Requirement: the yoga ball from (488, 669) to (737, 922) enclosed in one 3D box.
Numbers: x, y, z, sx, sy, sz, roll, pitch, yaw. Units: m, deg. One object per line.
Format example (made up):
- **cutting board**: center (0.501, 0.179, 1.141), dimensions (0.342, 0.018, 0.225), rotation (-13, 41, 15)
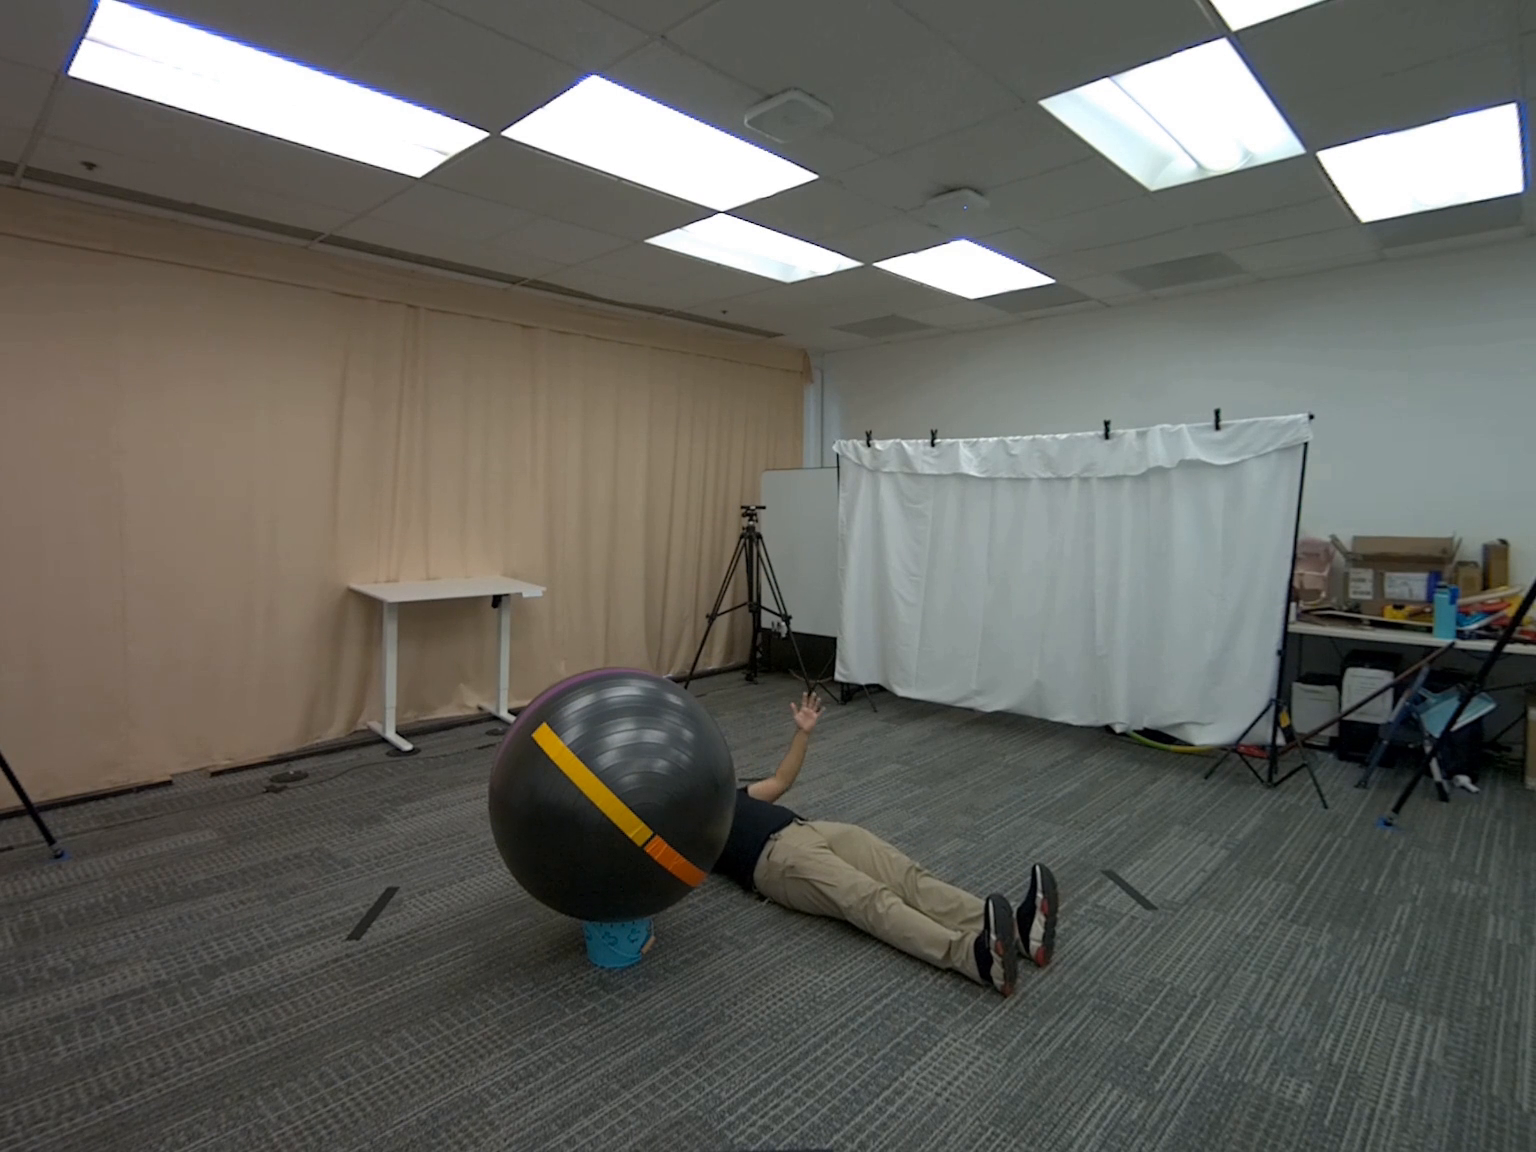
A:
- **yoga ball**: center (-0.477, 0.672, 2.609), dimensions (0.757, 0.756, 0.761), rotation (0, 4, -2)
